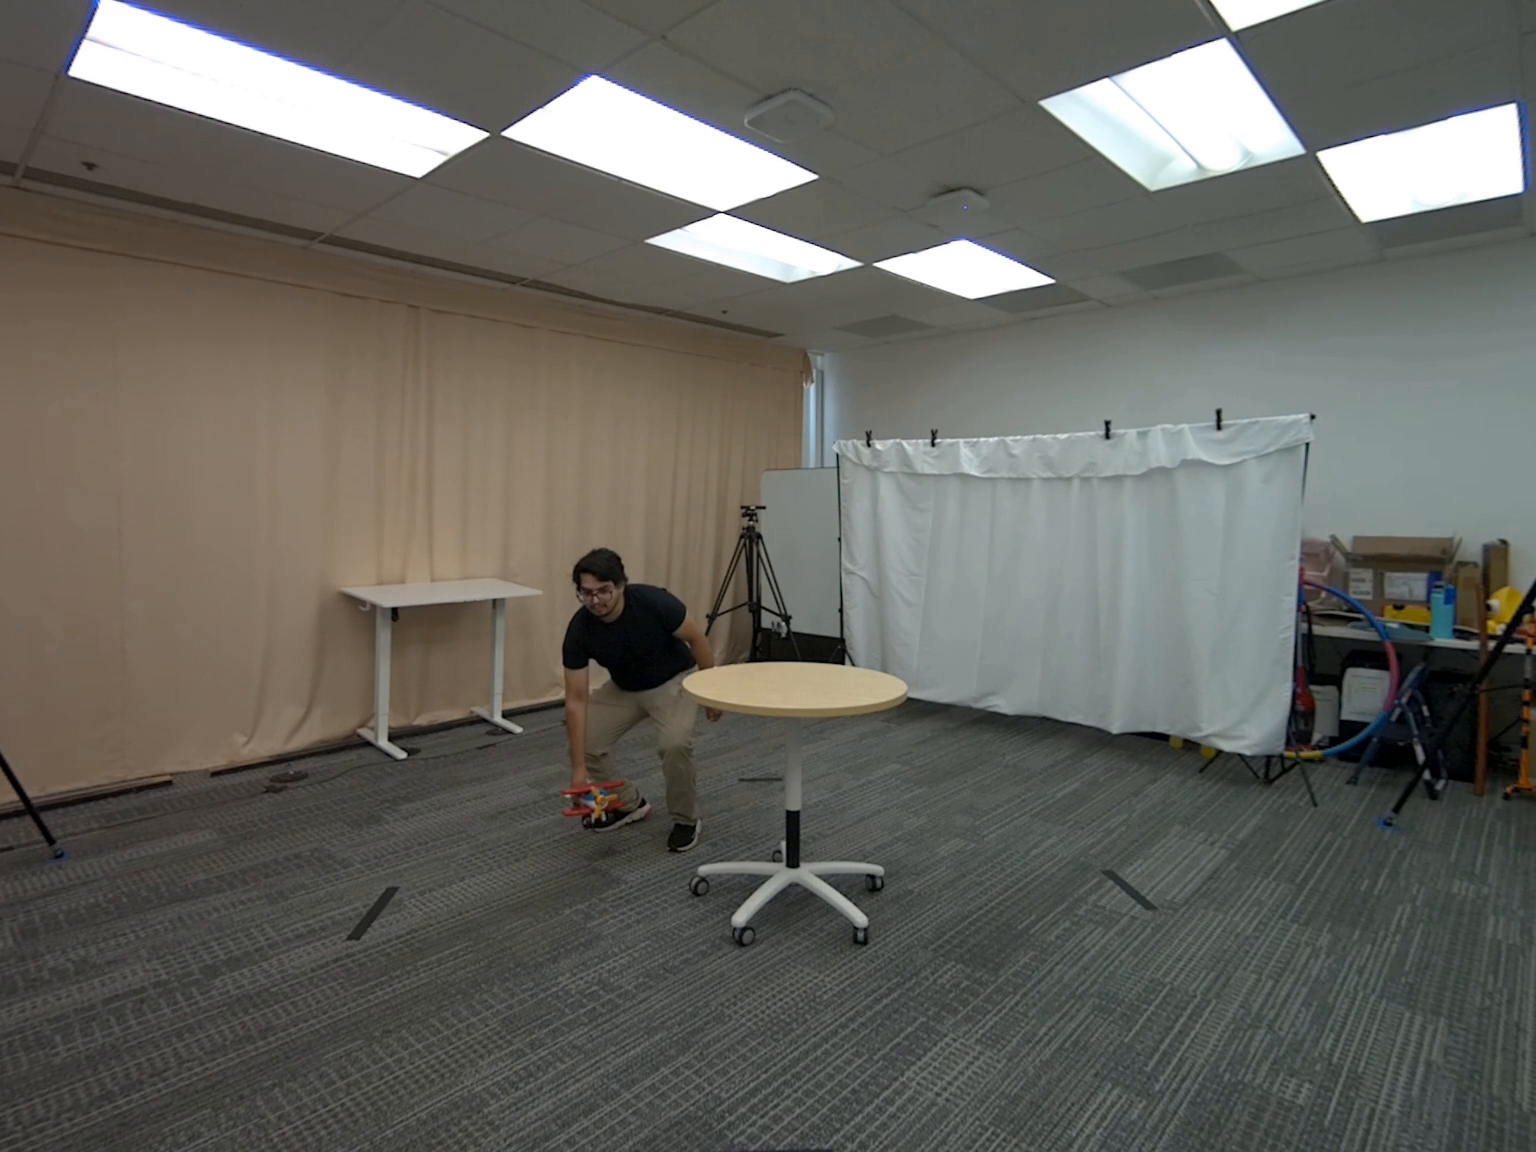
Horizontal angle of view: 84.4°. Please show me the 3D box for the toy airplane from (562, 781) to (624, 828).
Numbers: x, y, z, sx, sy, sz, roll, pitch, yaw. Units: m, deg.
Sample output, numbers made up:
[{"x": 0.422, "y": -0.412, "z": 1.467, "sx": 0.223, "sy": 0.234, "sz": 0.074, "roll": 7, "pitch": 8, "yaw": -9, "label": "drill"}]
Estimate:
[{"x": -0.703, "y": 0.873, "z": 3.279, "sx": 0.267, "sy": 0.155, "sz": 0.244, "roll": 9, "pitch": 11, "yaw": 32, "label": "toy airplane"}]
